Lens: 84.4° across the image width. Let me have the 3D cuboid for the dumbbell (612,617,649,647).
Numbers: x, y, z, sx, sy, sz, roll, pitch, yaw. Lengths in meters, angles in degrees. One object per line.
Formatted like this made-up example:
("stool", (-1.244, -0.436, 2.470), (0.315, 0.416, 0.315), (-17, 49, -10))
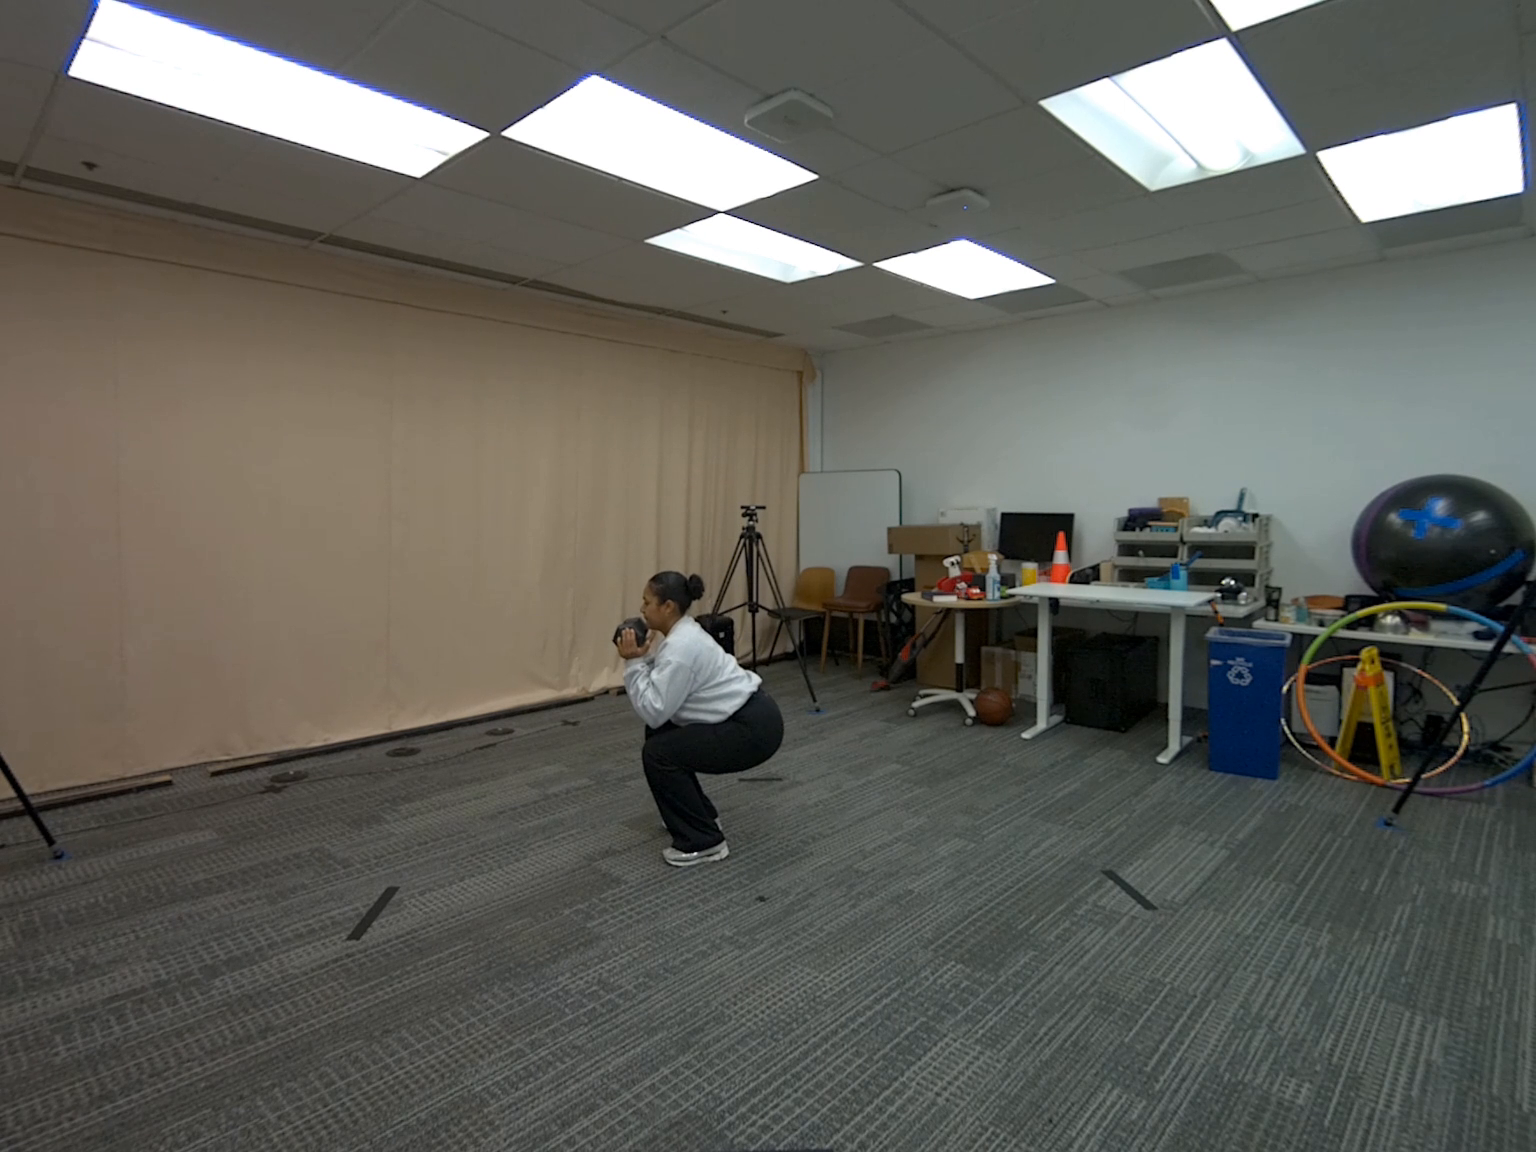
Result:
("dumbbell", (-0.549, 0.214, 3.439), (0.108, 0.123, 0.295), (26, 2, -5))
